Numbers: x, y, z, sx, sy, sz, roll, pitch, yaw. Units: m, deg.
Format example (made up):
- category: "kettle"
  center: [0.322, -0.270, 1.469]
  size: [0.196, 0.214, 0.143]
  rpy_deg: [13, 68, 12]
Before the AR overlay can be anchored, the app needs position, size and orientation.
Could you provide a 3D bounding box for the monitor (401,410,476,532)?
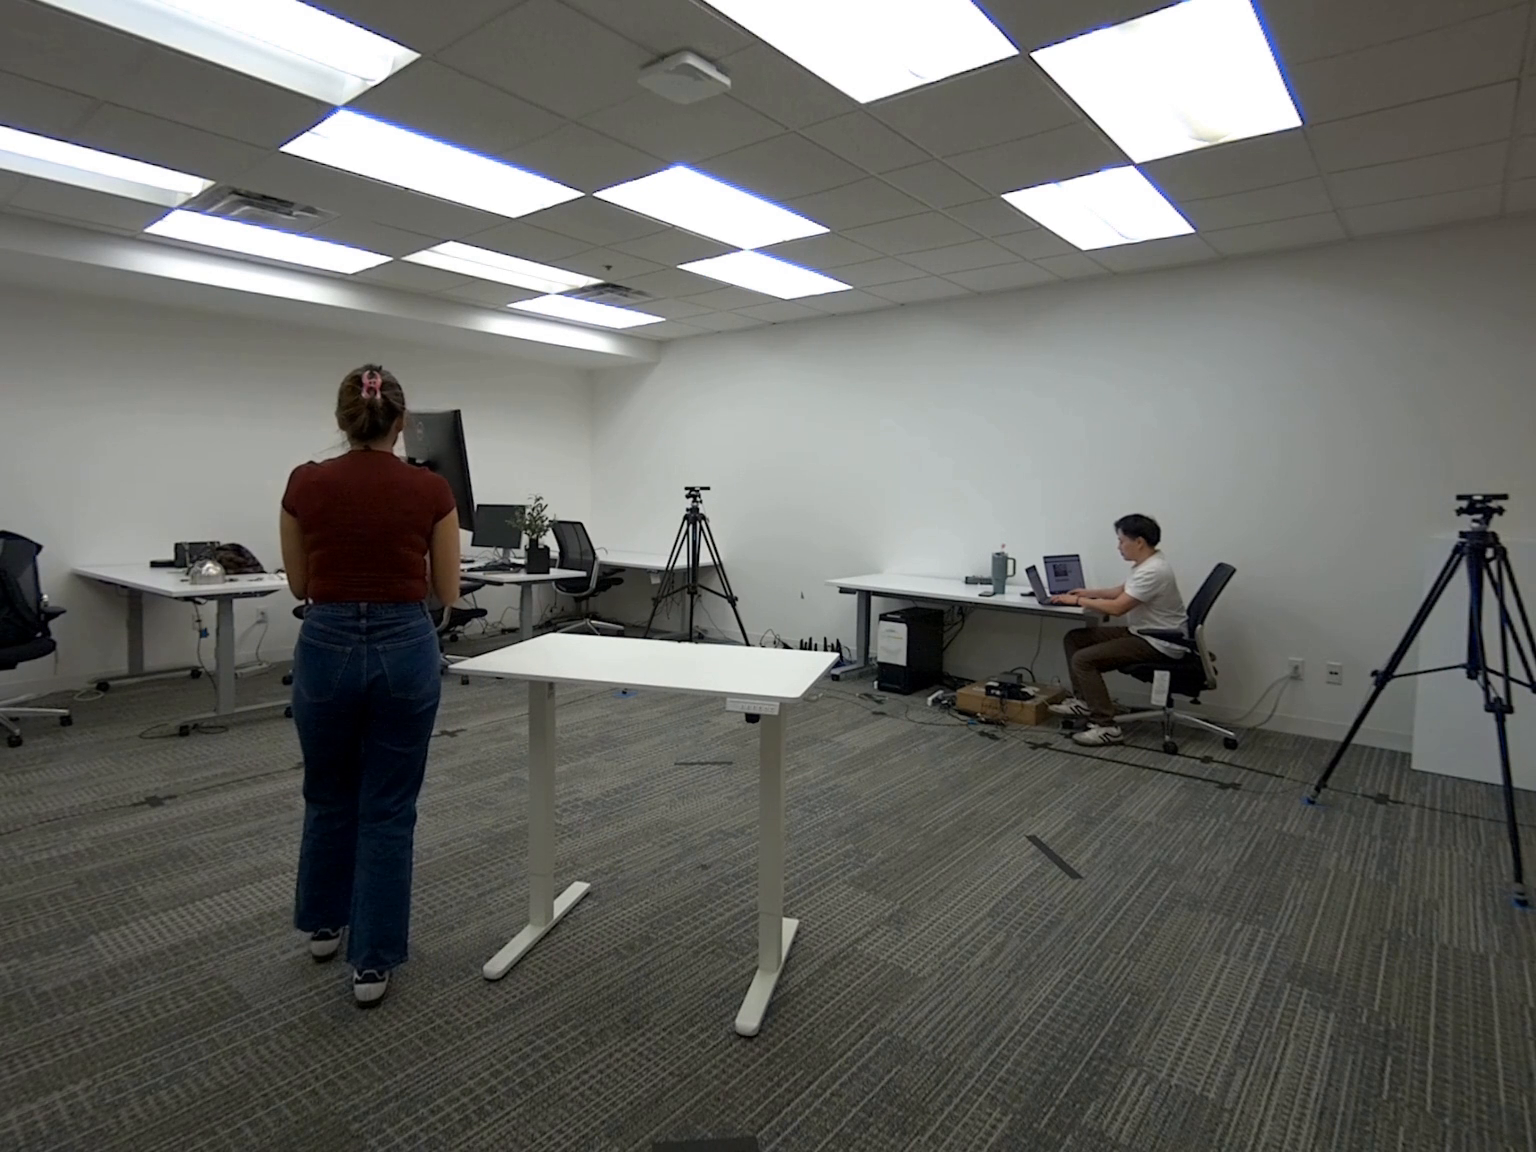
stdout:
- category: "monitor"
  center: [-1.063, -0.252, 2.607]
  size: [0.181, 0.521, 0.559]
  rpy_deg: [5, 5, -39]
